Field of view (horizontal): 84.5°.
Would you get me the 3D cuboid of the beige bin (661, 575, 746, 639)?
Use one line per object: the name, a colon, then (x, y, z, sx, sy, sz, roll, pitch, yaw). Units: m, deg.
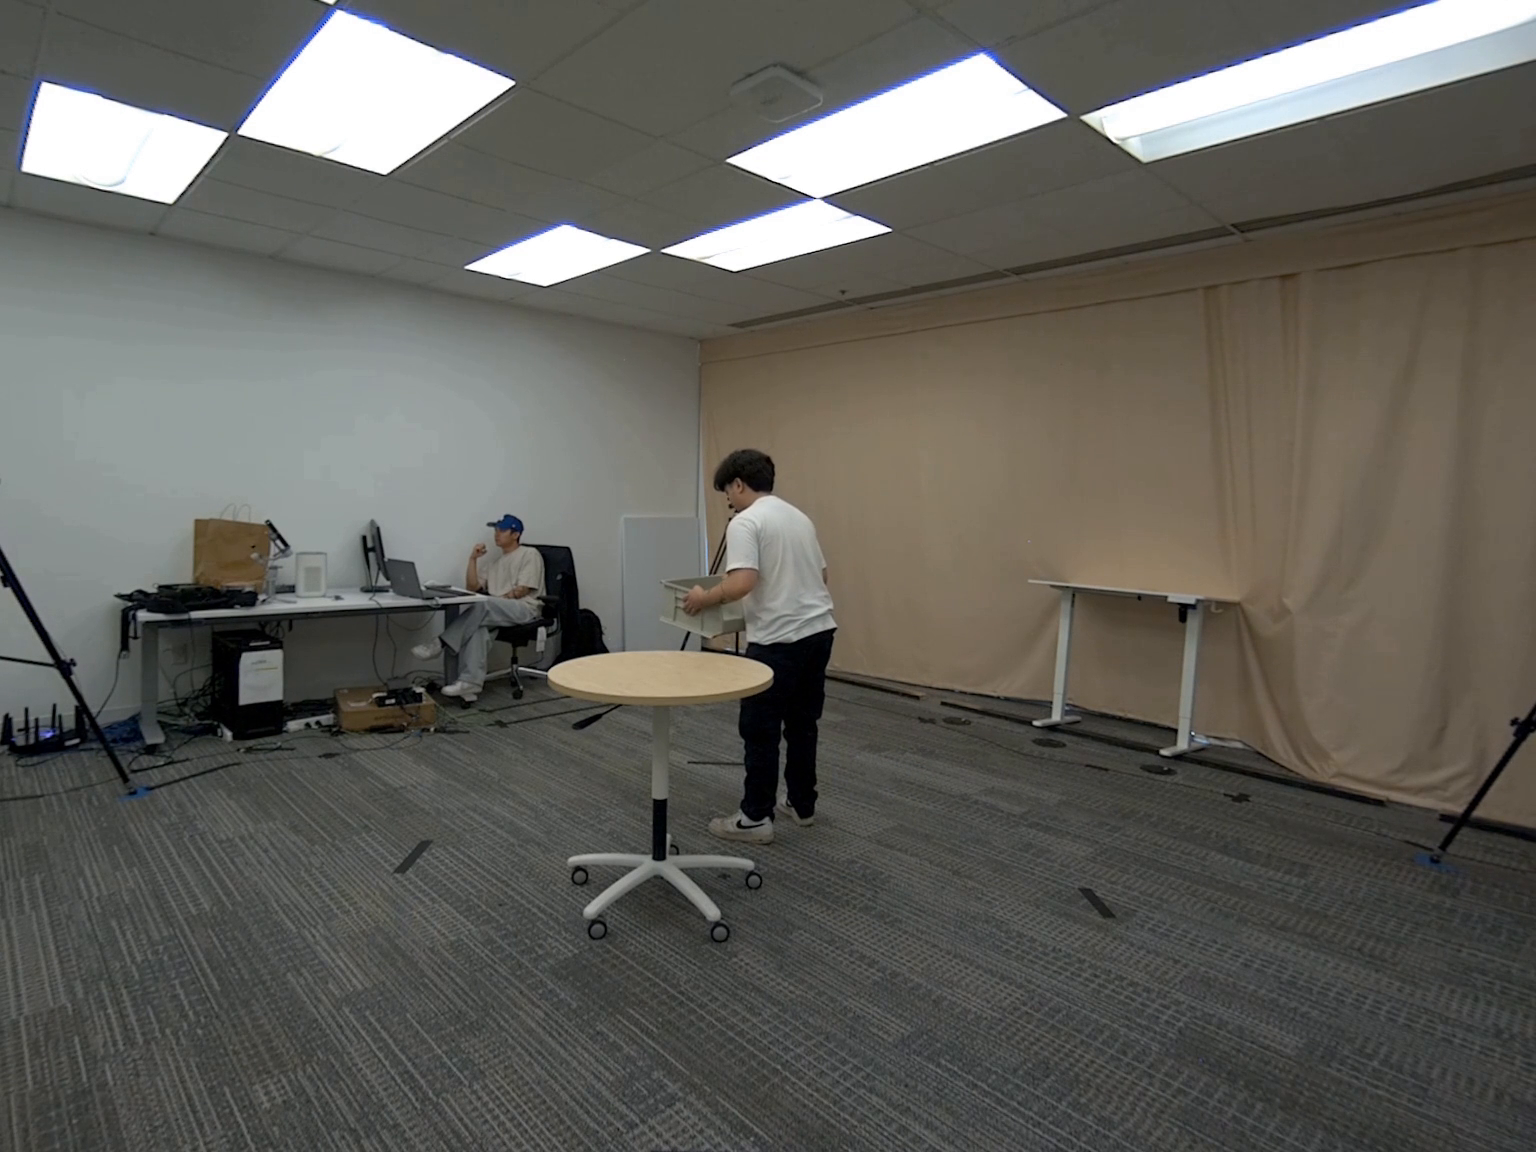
beige bin: (-0.218, 0.130, 3.764, 0.387, 0.188, 0.414, 12, 12, 37)
